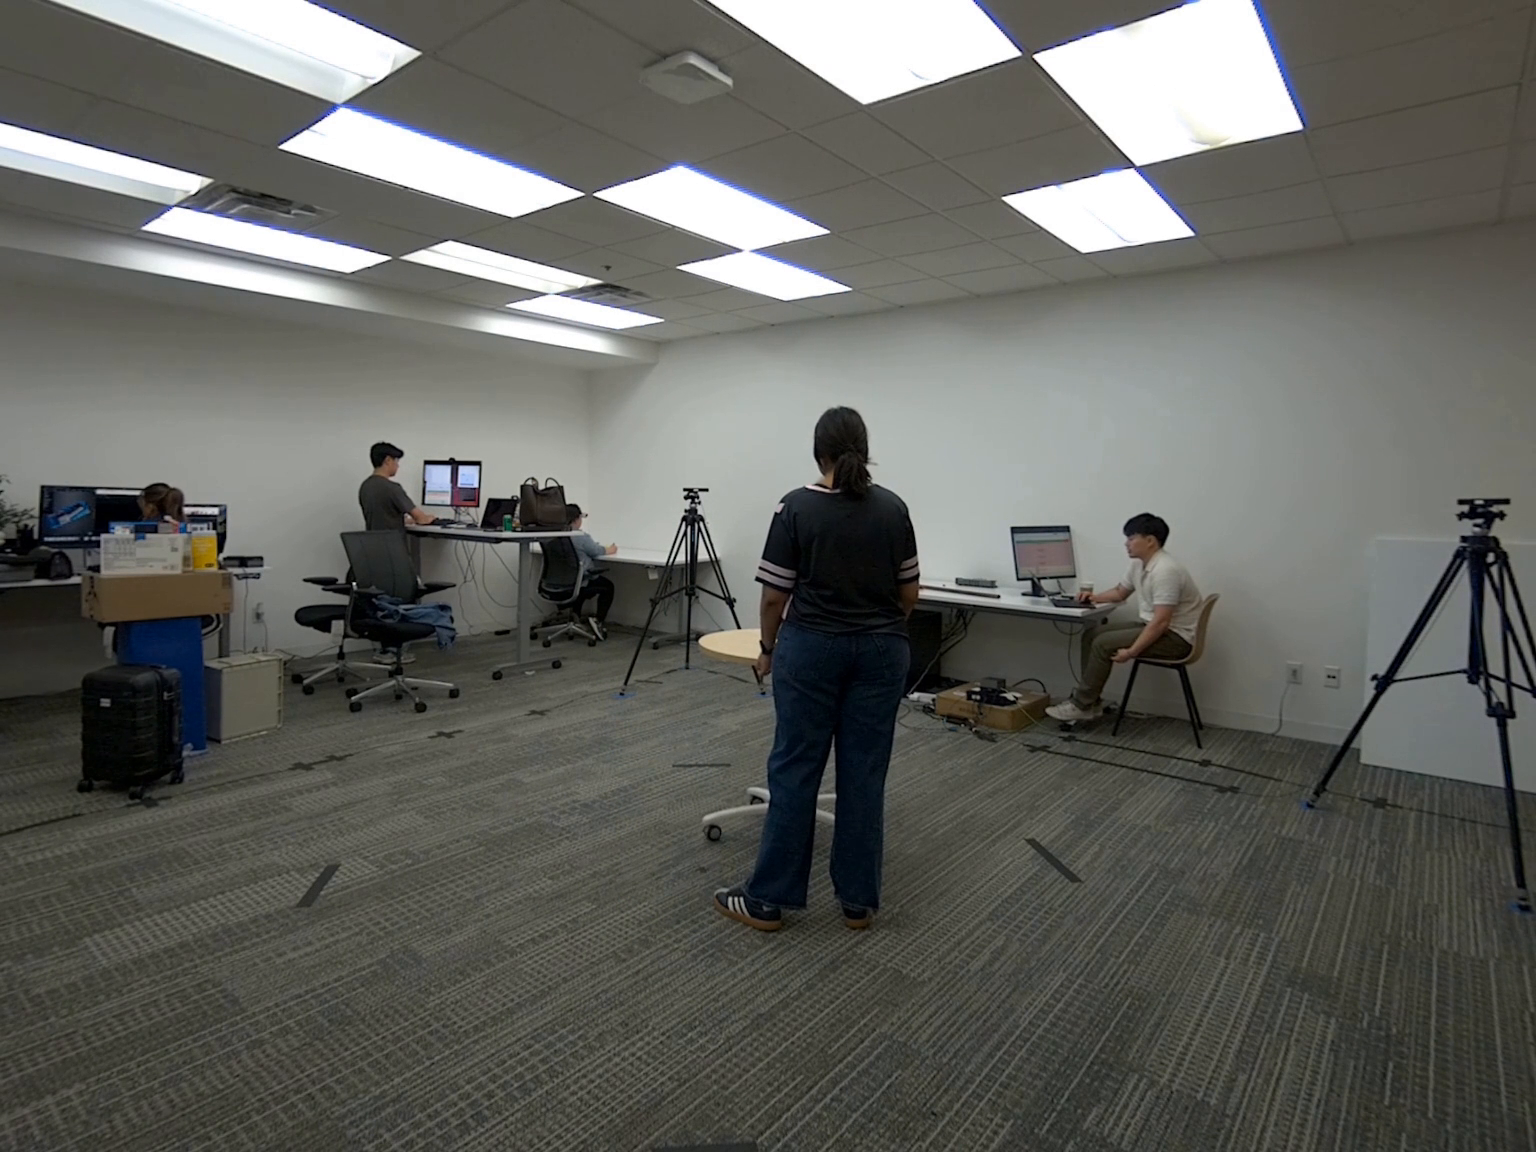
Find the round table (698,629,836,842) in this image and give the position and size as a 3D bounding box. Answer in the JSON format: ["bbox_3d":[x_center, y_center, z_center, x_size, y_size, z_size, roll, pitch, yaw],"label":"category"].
[{"bbox_3d":[0.079,0.656,3.395,0.763,0.792,0.767,1,4,-2],"label":"round table"}]
